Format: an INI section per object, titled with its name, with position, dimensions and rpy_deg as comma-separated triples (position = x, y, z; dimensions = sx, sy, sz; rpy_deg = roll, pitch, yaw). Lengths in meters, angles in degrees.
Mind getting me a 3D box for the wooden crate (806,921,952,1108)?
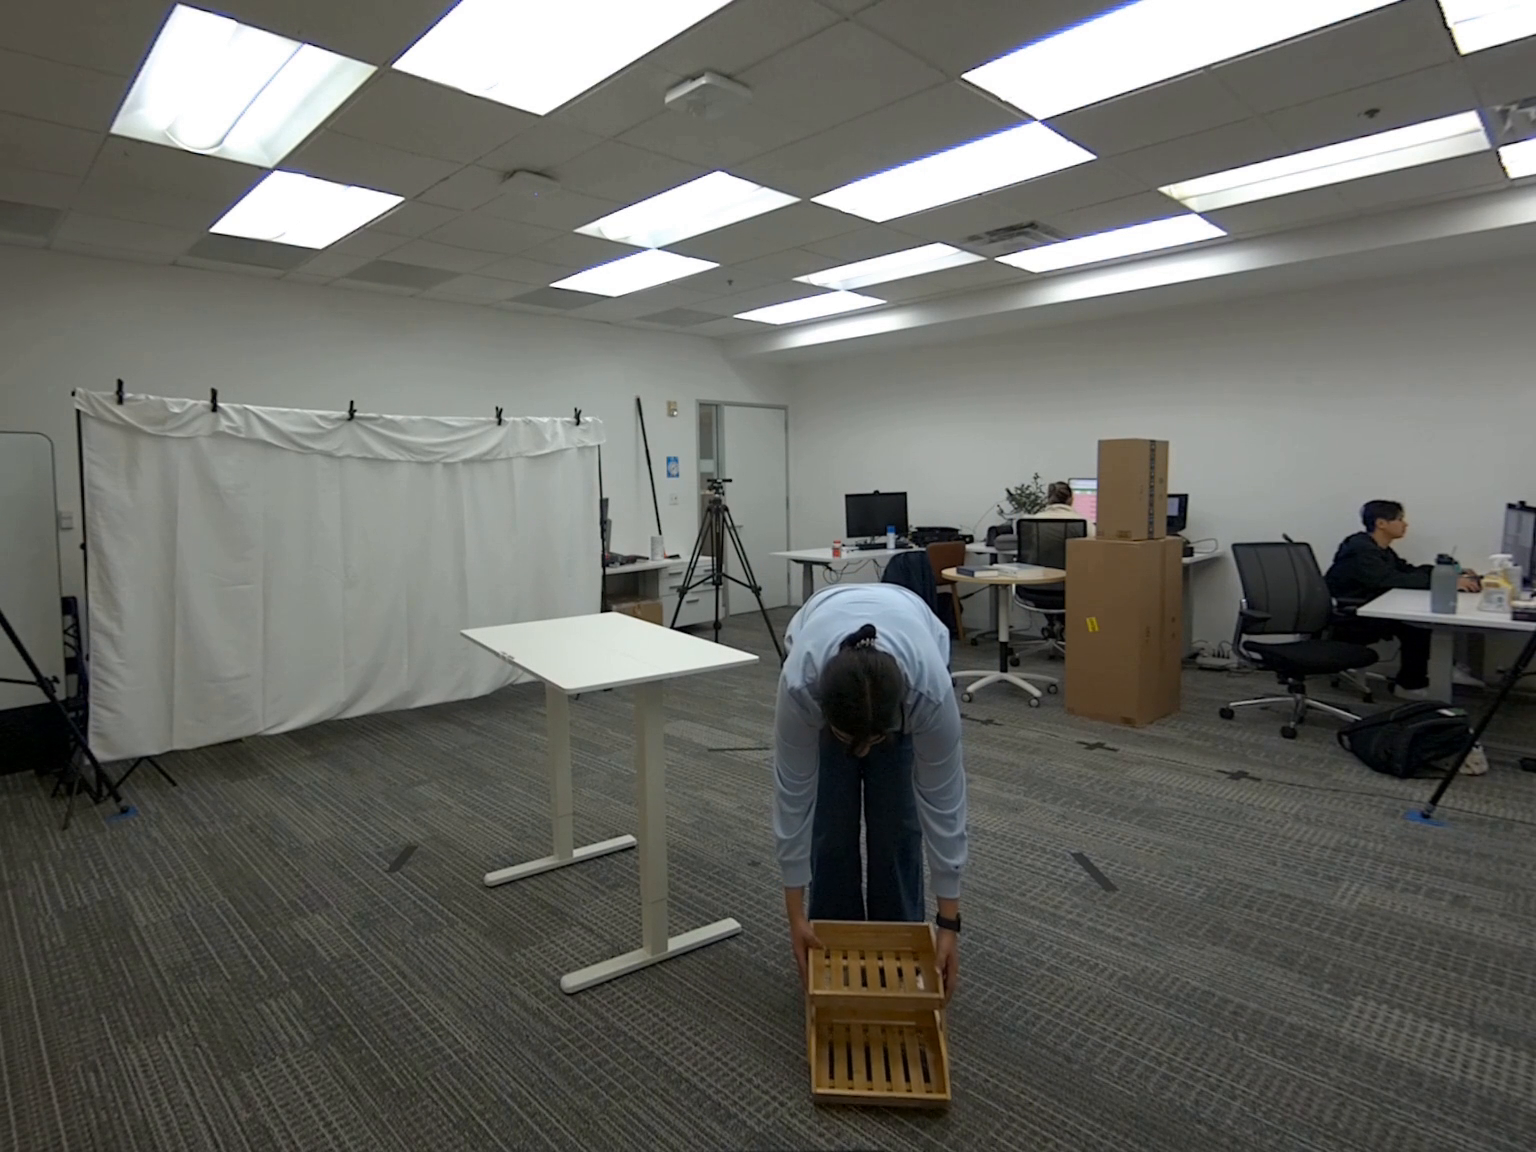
[wooden crate]
position = 0.259, 1.016, 1.989
dimensions = 0.326, 0.271, 0.304
rpy_deg = -2, 11, 3
